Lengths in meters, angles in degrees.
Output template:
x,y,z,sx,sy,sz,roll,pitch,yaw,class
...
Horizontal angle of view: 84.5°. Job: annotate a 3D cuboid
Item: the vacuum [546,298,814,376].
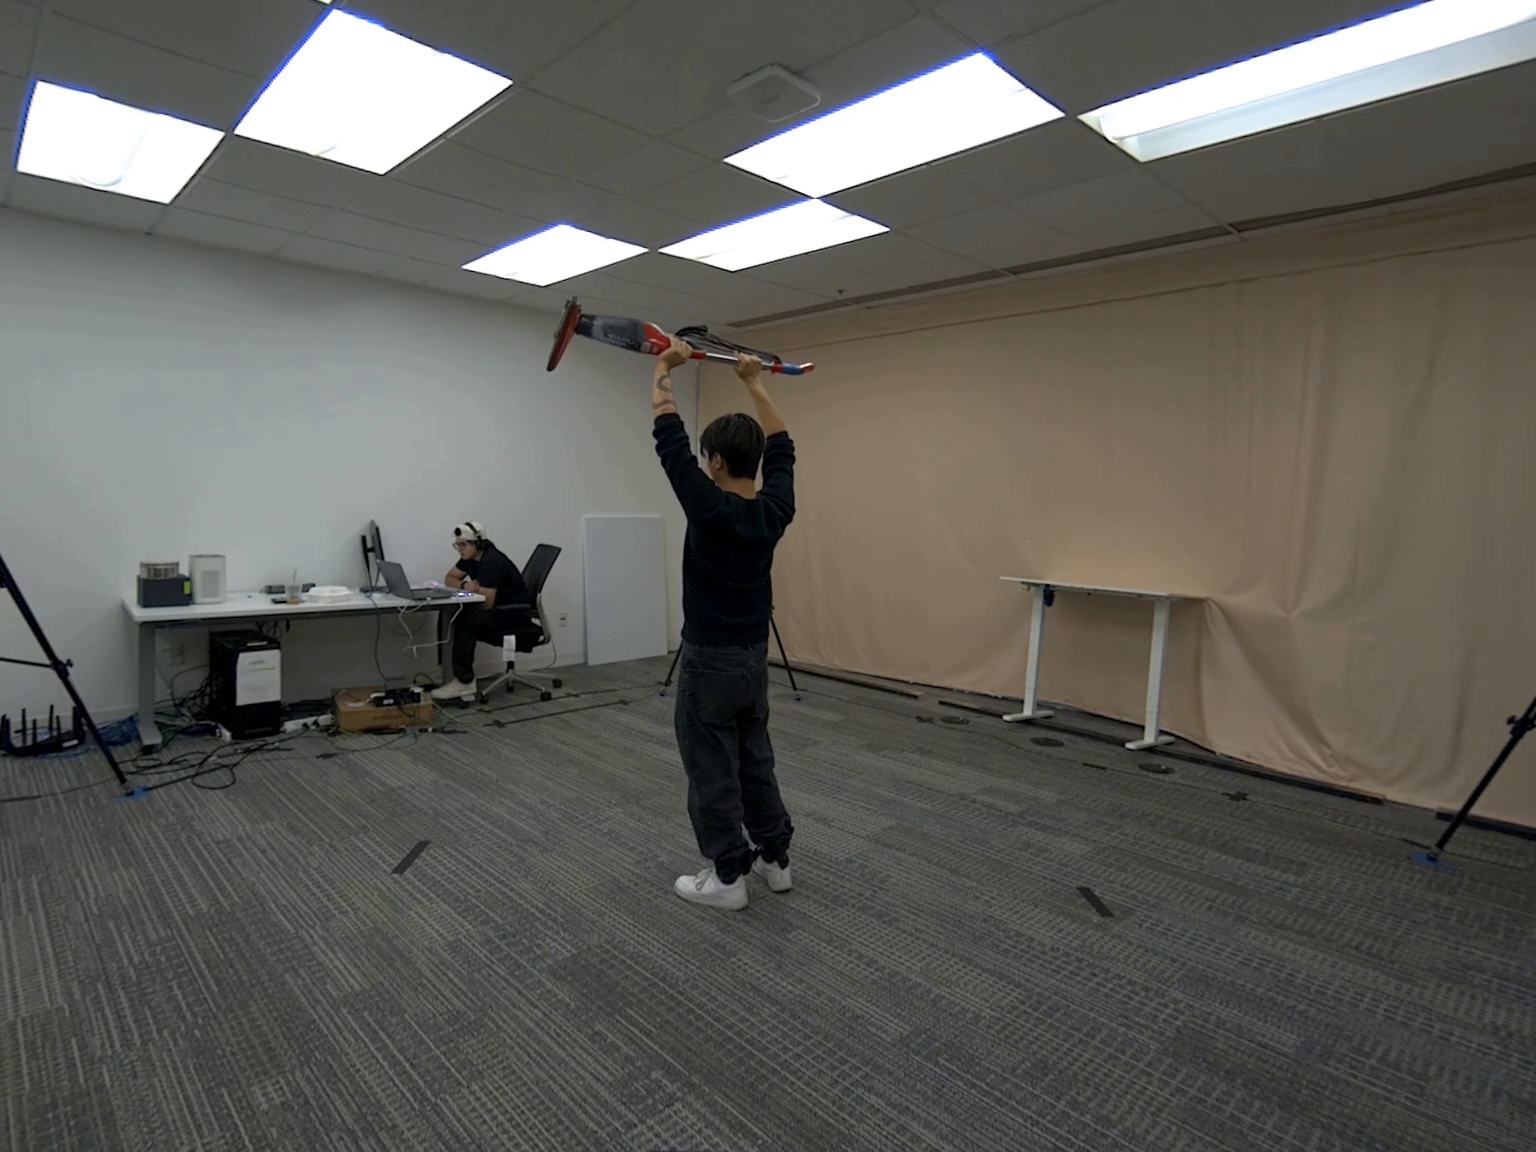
x,y,z,sx,sy,sz,roll,pitch,yaw,class
-0.247,-0.789,2.910,1.026,0.251,0.148,-4,48,-38,vacuum
